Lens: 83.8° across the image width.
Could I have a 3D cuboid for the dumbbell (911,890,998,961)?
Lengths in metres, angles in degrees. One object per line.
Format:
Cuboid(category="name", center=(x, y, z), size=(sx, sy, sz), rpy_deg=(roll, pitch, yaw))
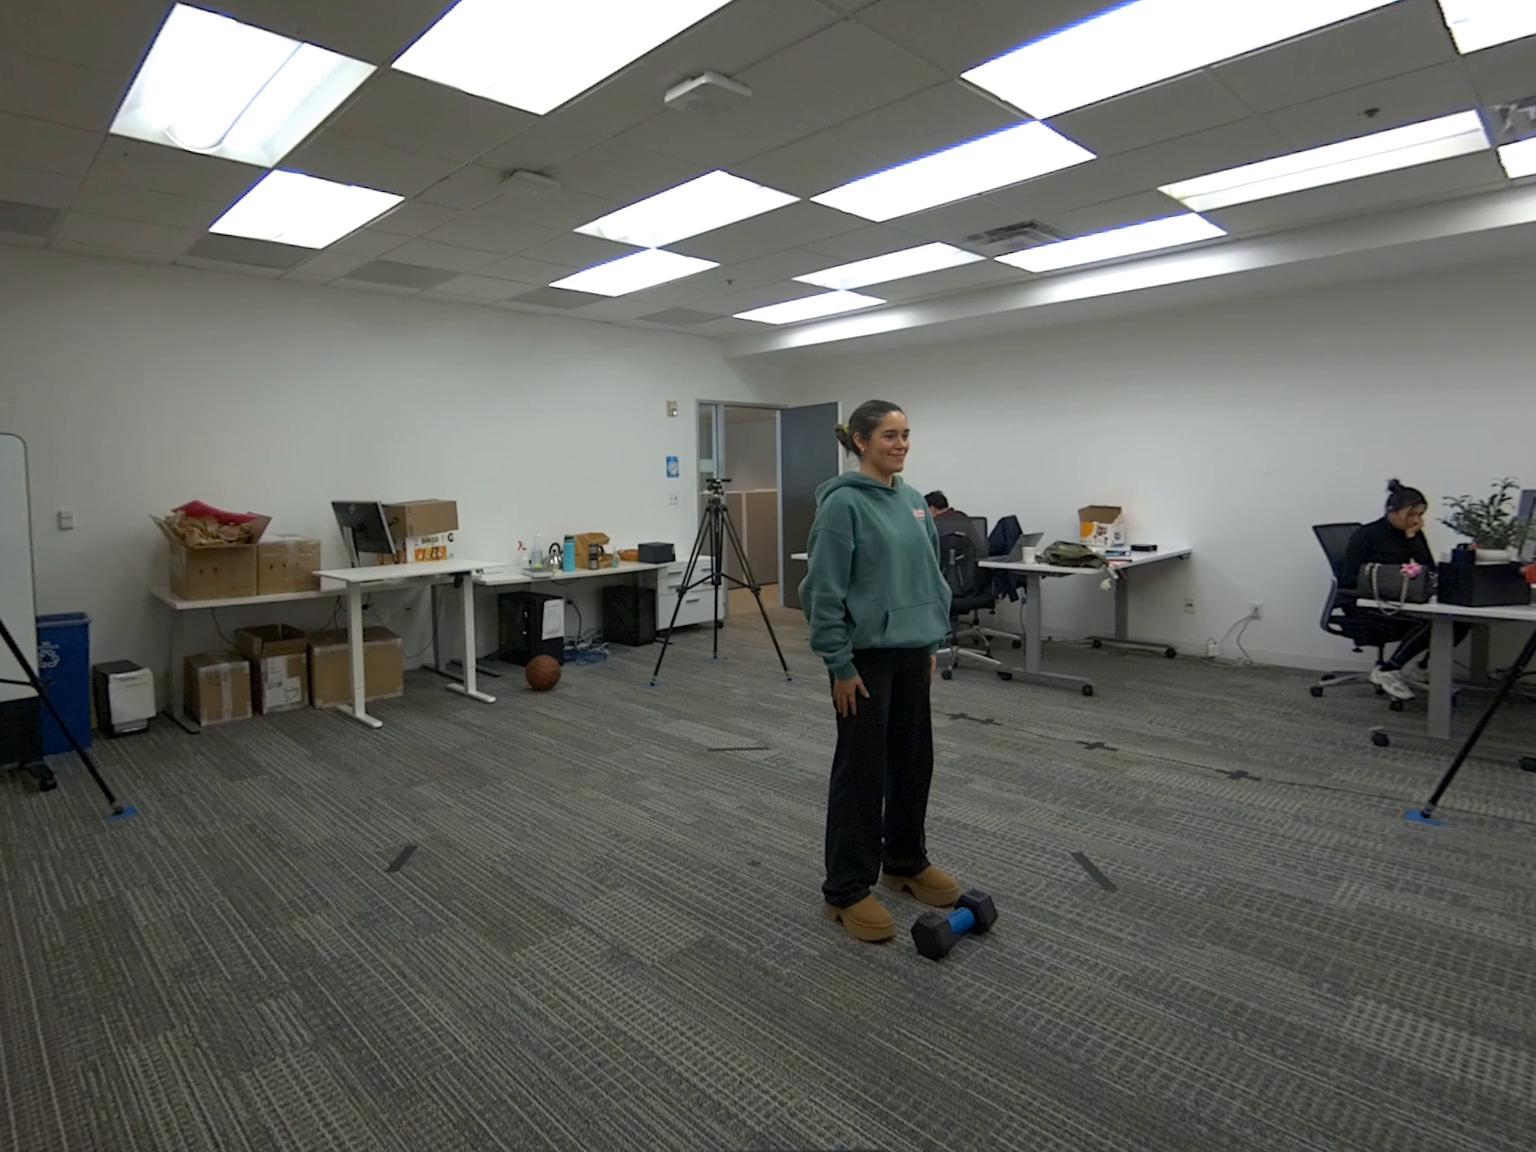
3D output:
Cuboid(category="dumbbell", center=(0.565, 1.044, 2.562), size=(0.286, 0.121, 0.113), rpy_deg=(-6, 38, -40))
